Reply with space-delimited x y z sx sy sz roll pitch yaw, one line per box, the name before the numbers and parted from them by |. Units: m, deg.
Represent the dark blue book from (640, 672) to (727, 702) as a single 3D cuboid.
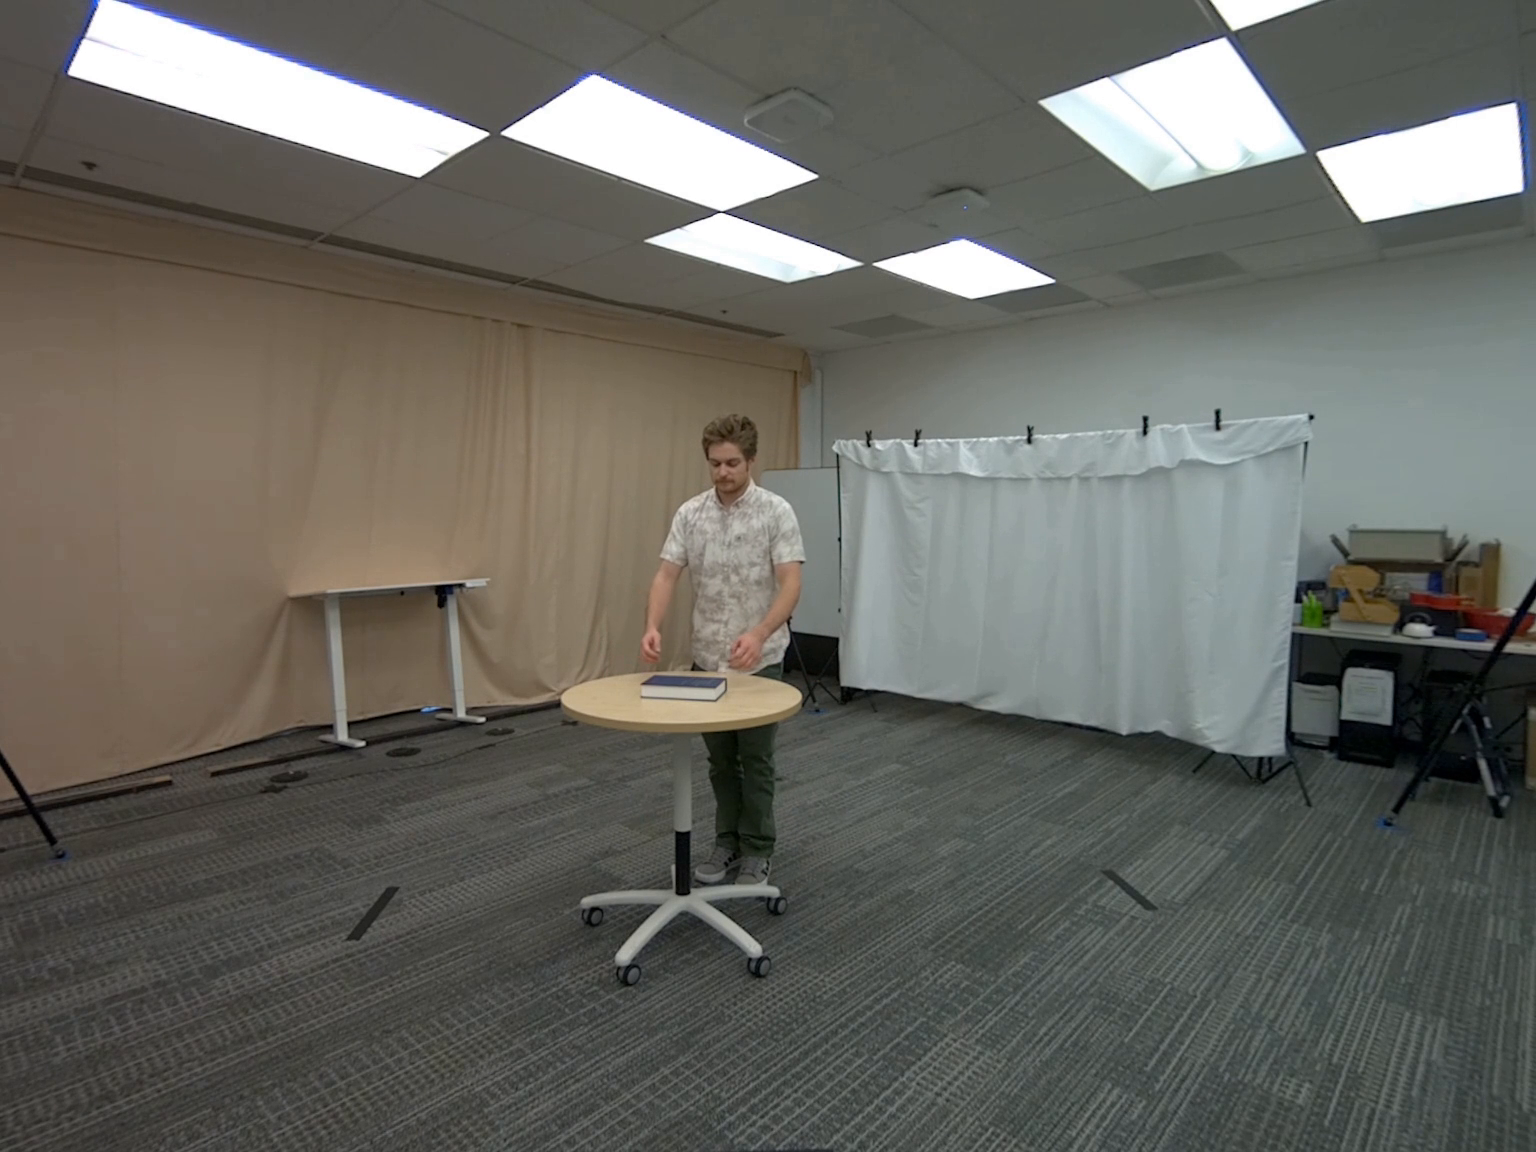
dark blue book | -0.267 0.356 2.687 0.248 0.045 0.162 1 5 11
